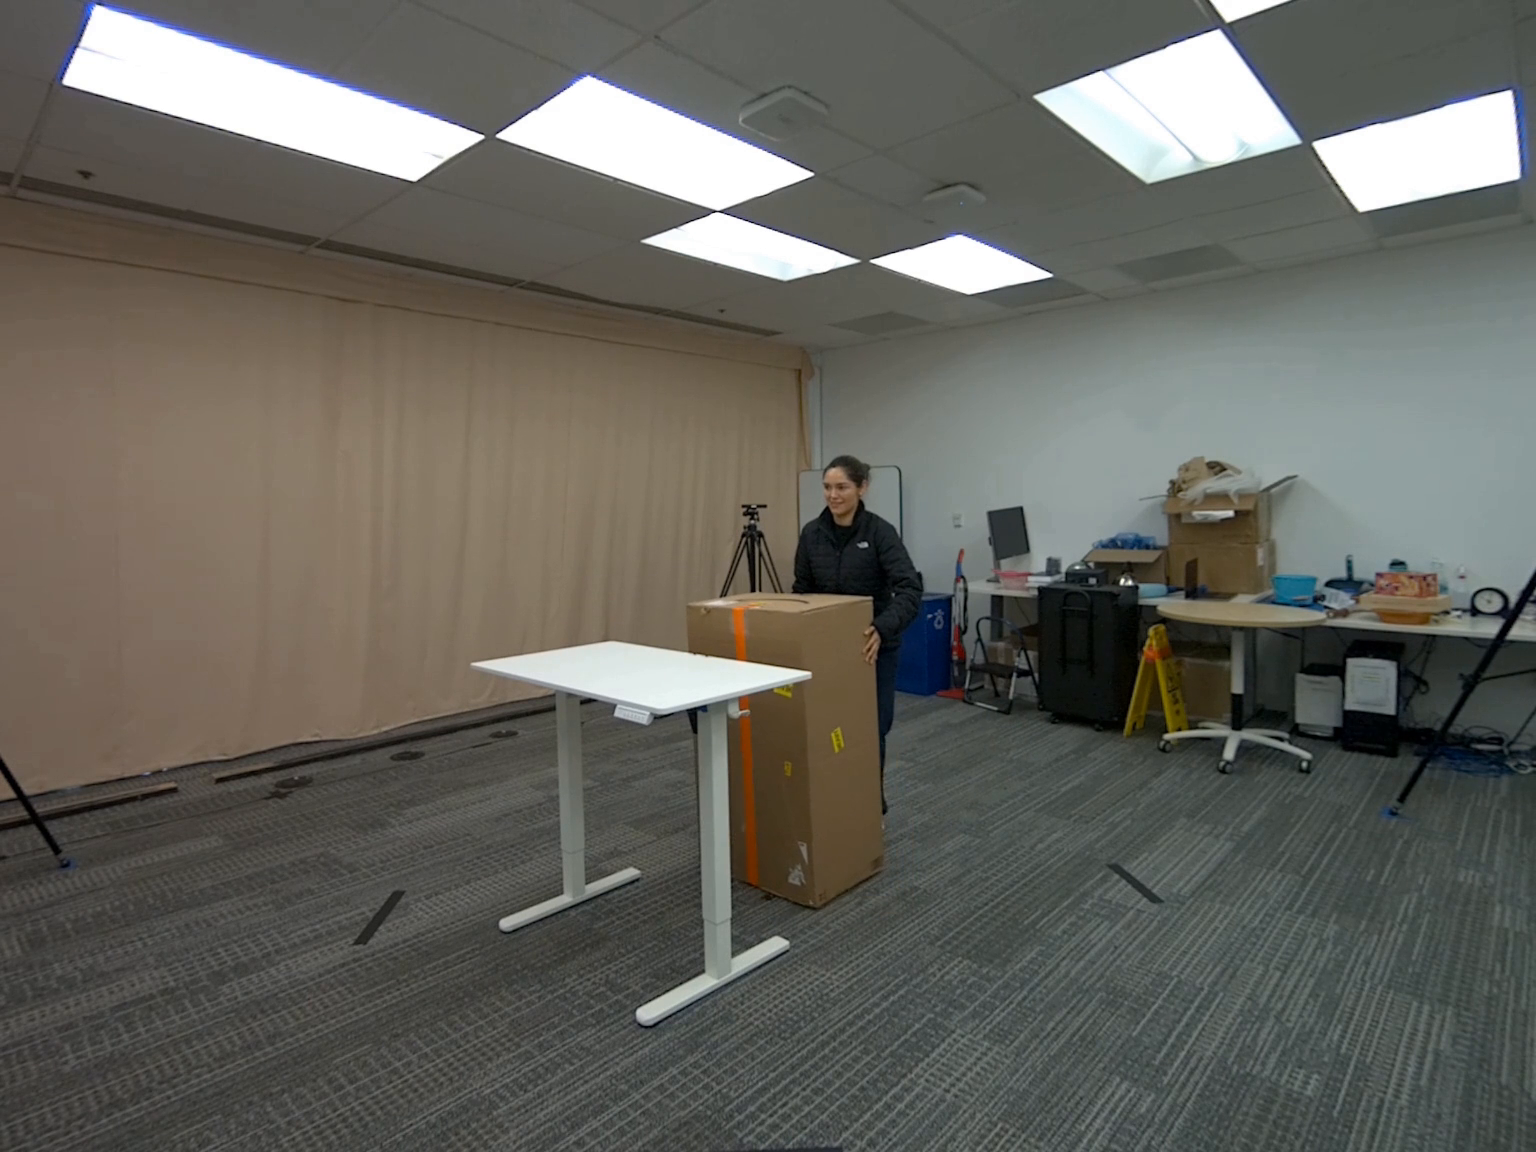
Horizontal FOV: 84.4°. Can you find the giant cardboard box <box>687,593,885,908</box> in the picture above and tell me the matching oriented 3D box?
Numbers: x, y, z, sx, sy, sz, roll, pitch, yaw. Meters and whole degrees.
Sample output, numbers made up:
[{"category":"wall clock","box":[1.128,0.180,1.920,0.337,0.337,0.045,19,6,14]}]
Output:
[{"category":"giant cardboard box","box":[0.069,0.604,3.189,0.596,1.023,0.413,1,5,43]}]
